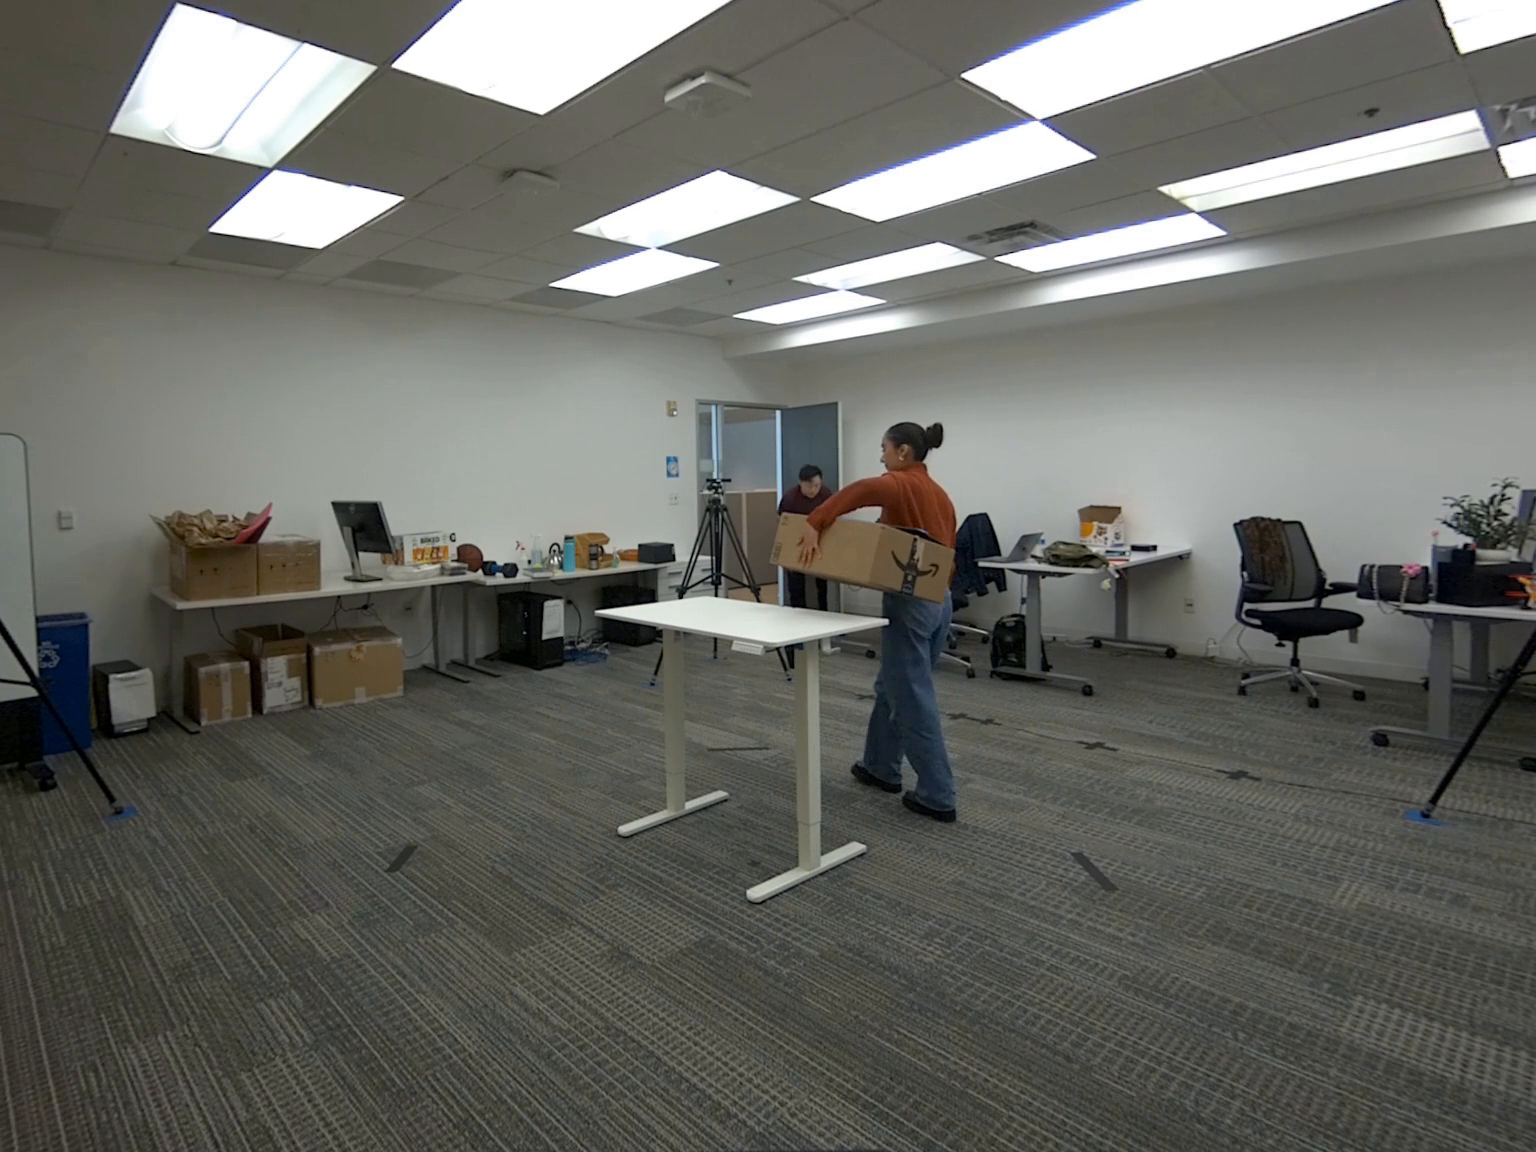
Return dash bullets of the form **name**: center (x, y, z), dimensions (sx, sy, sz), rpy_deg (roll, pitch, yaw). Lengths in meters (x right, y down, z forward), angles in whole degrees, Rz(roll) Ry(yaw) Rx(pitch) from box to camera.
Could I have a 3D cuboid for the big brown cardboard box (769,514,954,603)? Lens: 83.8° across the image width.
- **big brown cardboard box**: center (0.357, -0.083, 3.380), dimensions (0.403, 0.233, 0.608), rpy_deg (15, -1, -38)
